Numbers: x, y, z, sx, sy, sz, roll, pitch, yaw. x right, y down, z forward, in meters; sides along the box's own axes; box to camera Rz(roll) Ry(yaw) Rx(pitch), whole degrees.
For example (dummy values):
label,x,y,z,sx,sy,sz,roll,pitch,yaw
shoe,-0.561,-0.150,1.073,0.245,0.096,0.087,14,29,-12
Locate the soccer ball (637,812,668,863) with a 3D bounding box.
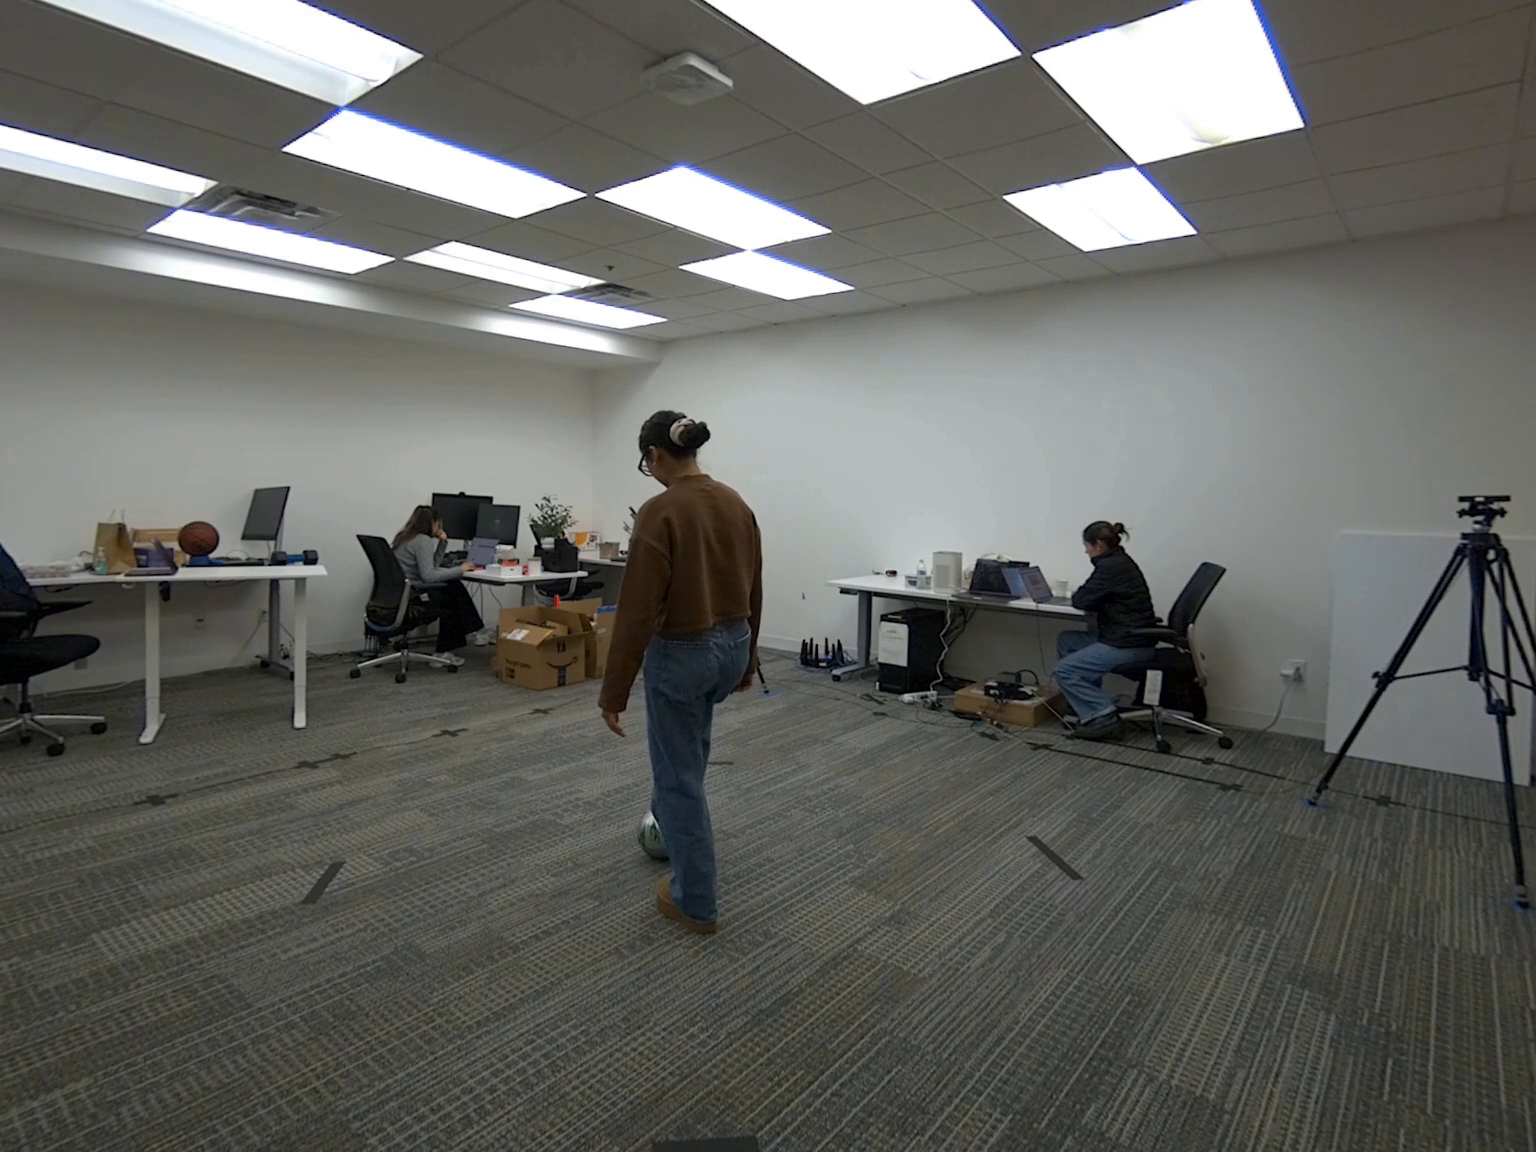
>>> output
label,x,y,z,sx,sy,sz,roll,pitch,yaw
soccer ball,-0.408,0.959,3.193,0.187,0.187,0.188,1,4,-2
